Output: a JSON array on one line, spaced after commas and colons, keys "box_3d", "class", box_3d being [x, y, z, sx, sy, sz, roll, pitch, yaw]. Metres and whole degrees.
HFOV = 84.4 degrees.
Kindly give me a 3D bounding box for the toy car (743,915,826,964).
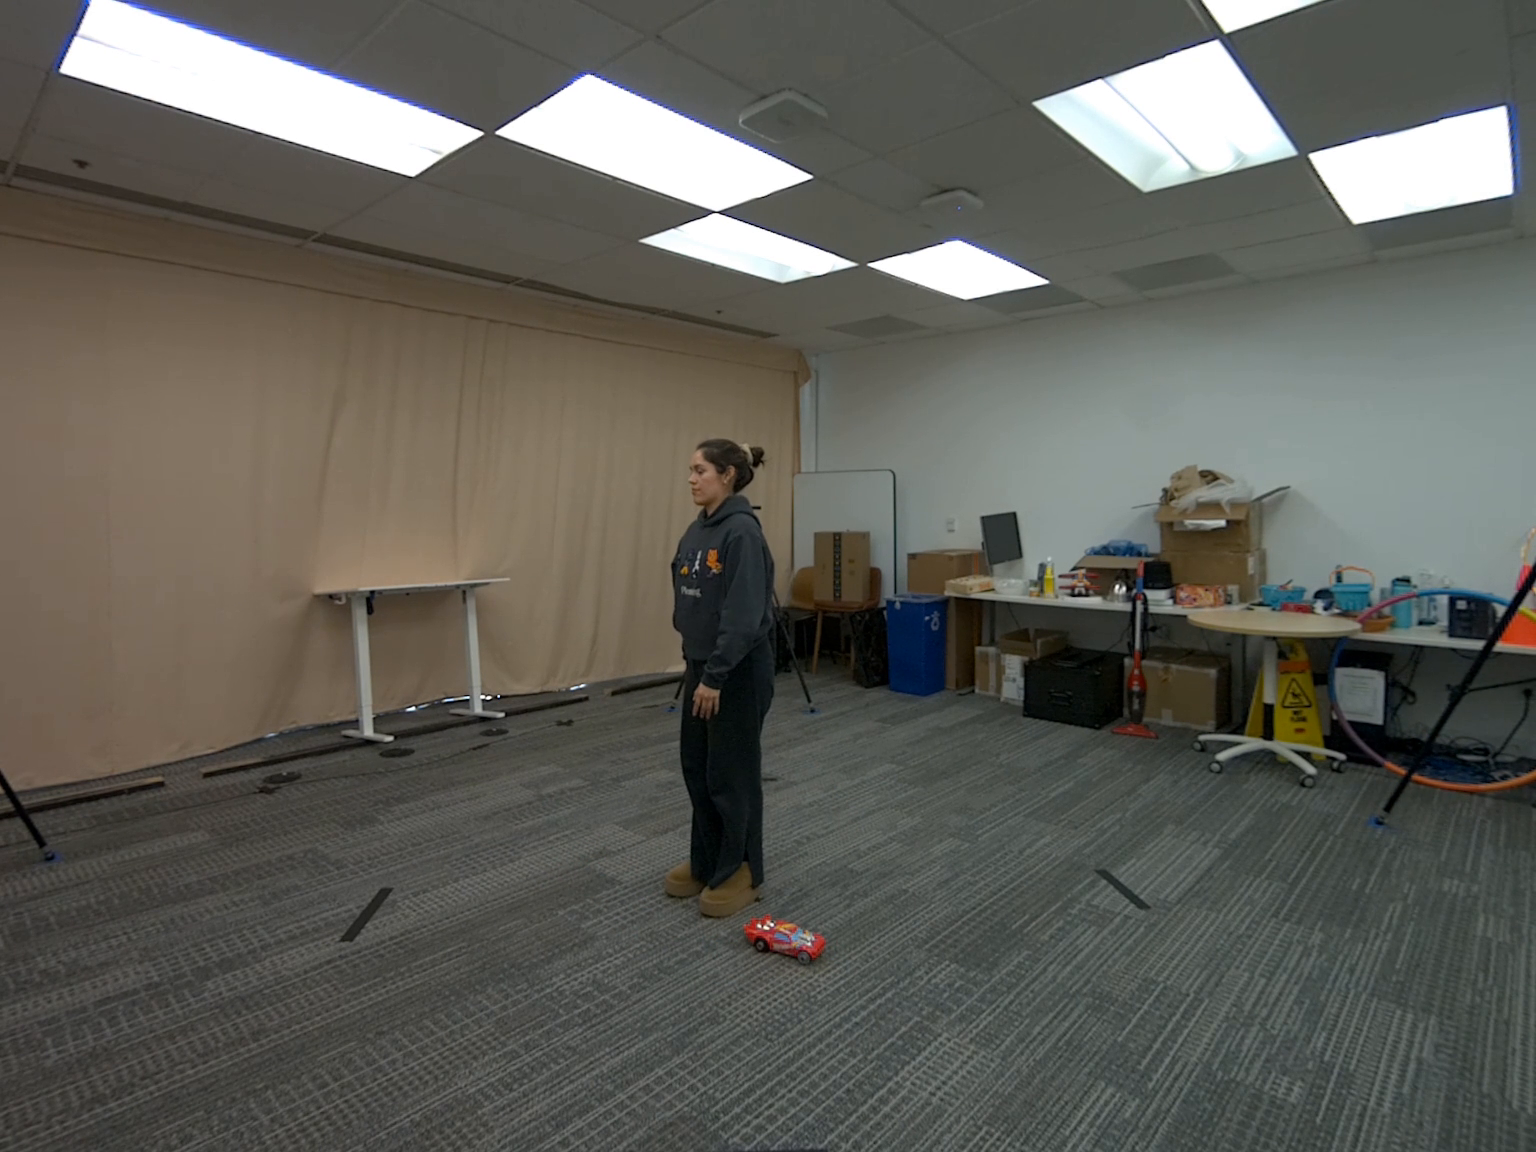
[{"box_3d": [0.072, 1.144, 2.638, 0.262, 0.083, 0.127, 13, 10, 27], "class": "toy car"}]
